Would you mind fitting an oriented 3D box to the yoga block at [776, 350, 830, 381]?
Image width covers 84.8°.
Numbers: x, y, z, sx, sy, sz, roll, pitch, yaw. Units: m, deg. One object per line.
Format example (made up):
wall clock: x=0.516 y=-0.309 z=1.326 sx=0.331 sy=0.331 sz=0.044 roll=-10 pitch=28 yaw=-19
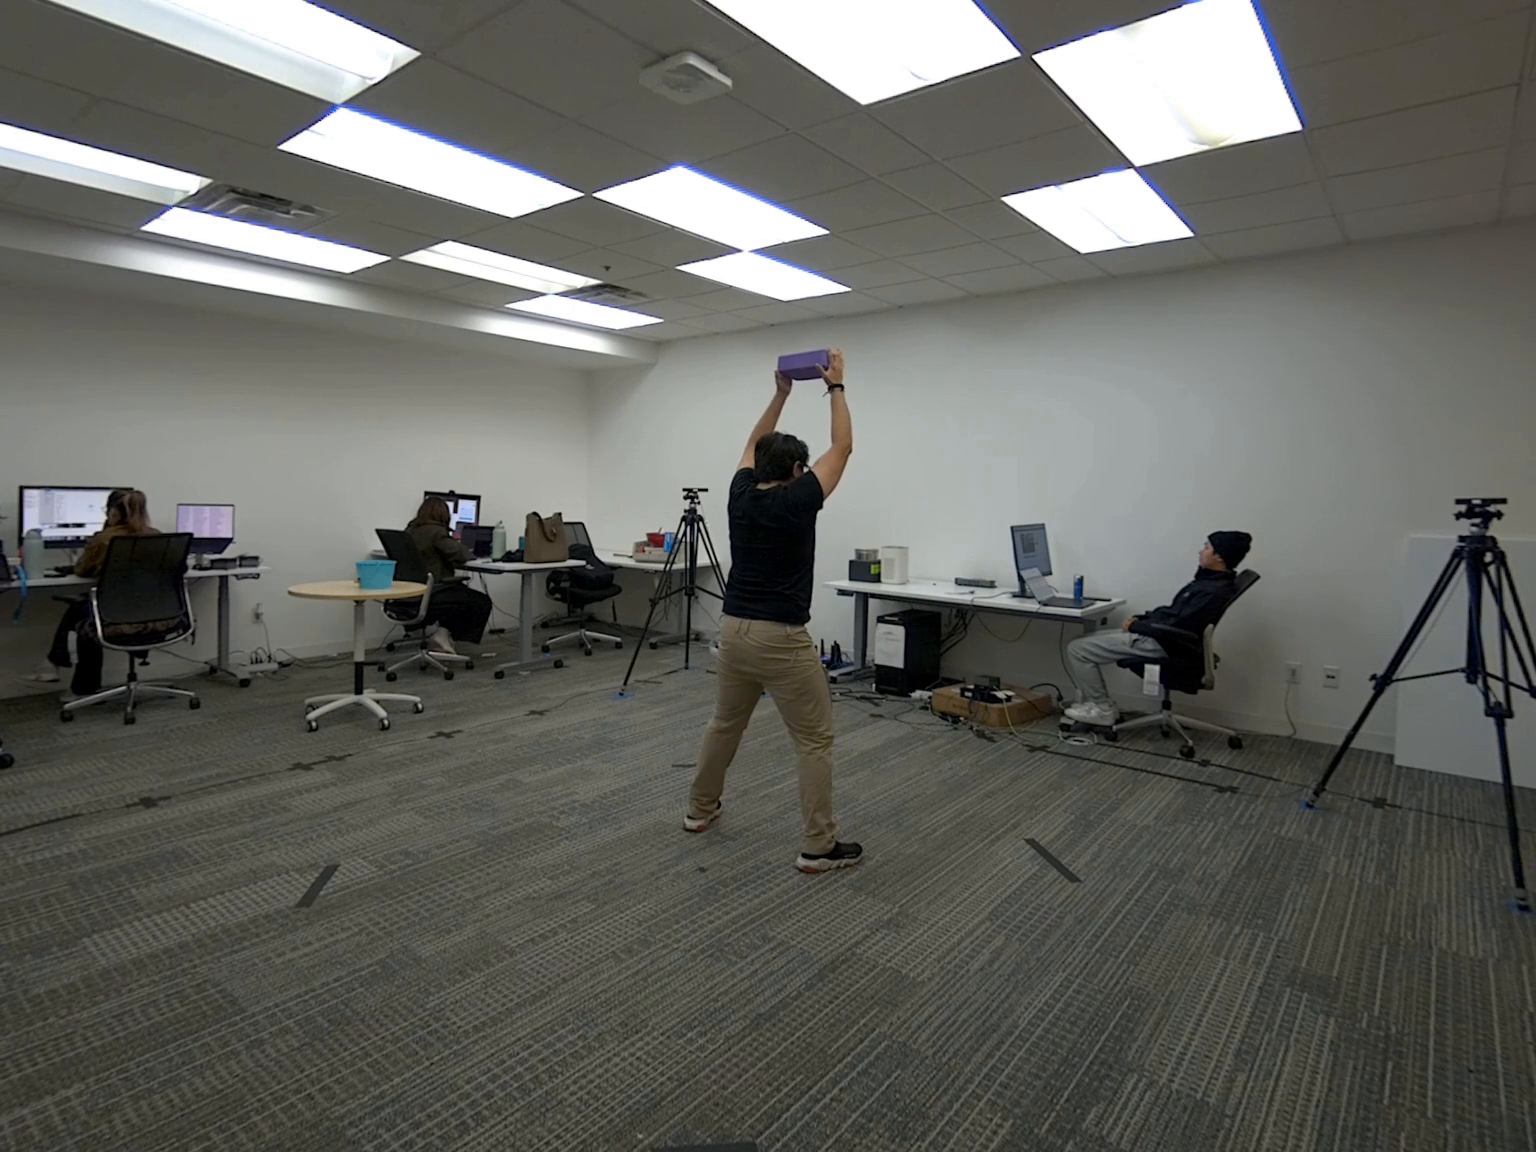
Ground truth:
yoga block: x=0.158 y=-0.856 z=3.449 sx=0.237 sy=0.077 sz=0.143 roll=3 pitch=-6 yaw=38
